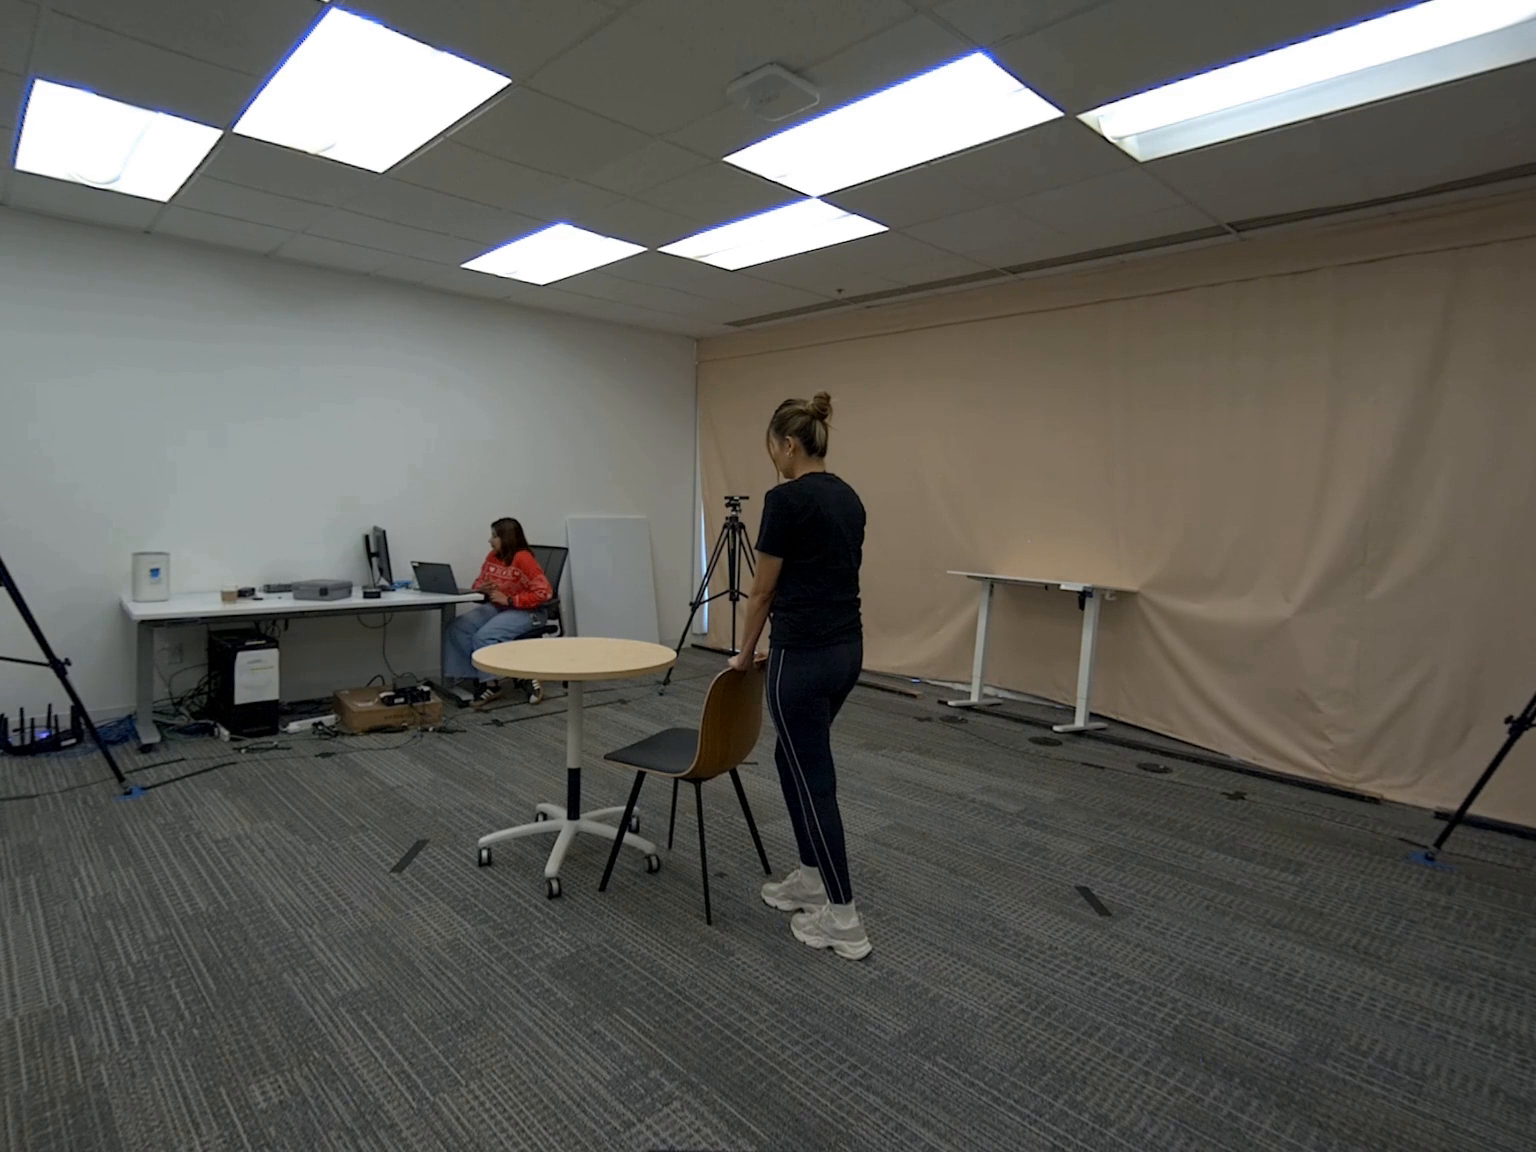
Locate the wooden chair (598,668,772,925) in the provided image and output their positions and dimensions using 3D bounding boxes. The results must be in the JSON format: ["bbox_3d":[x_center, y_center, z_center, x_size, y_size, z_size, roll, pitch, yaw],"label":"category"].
[{"bbox_3d":[-0.289,0.680,3.003,0.535,0.874,0.469,8,6,28],"label":"wooden chair"}]
